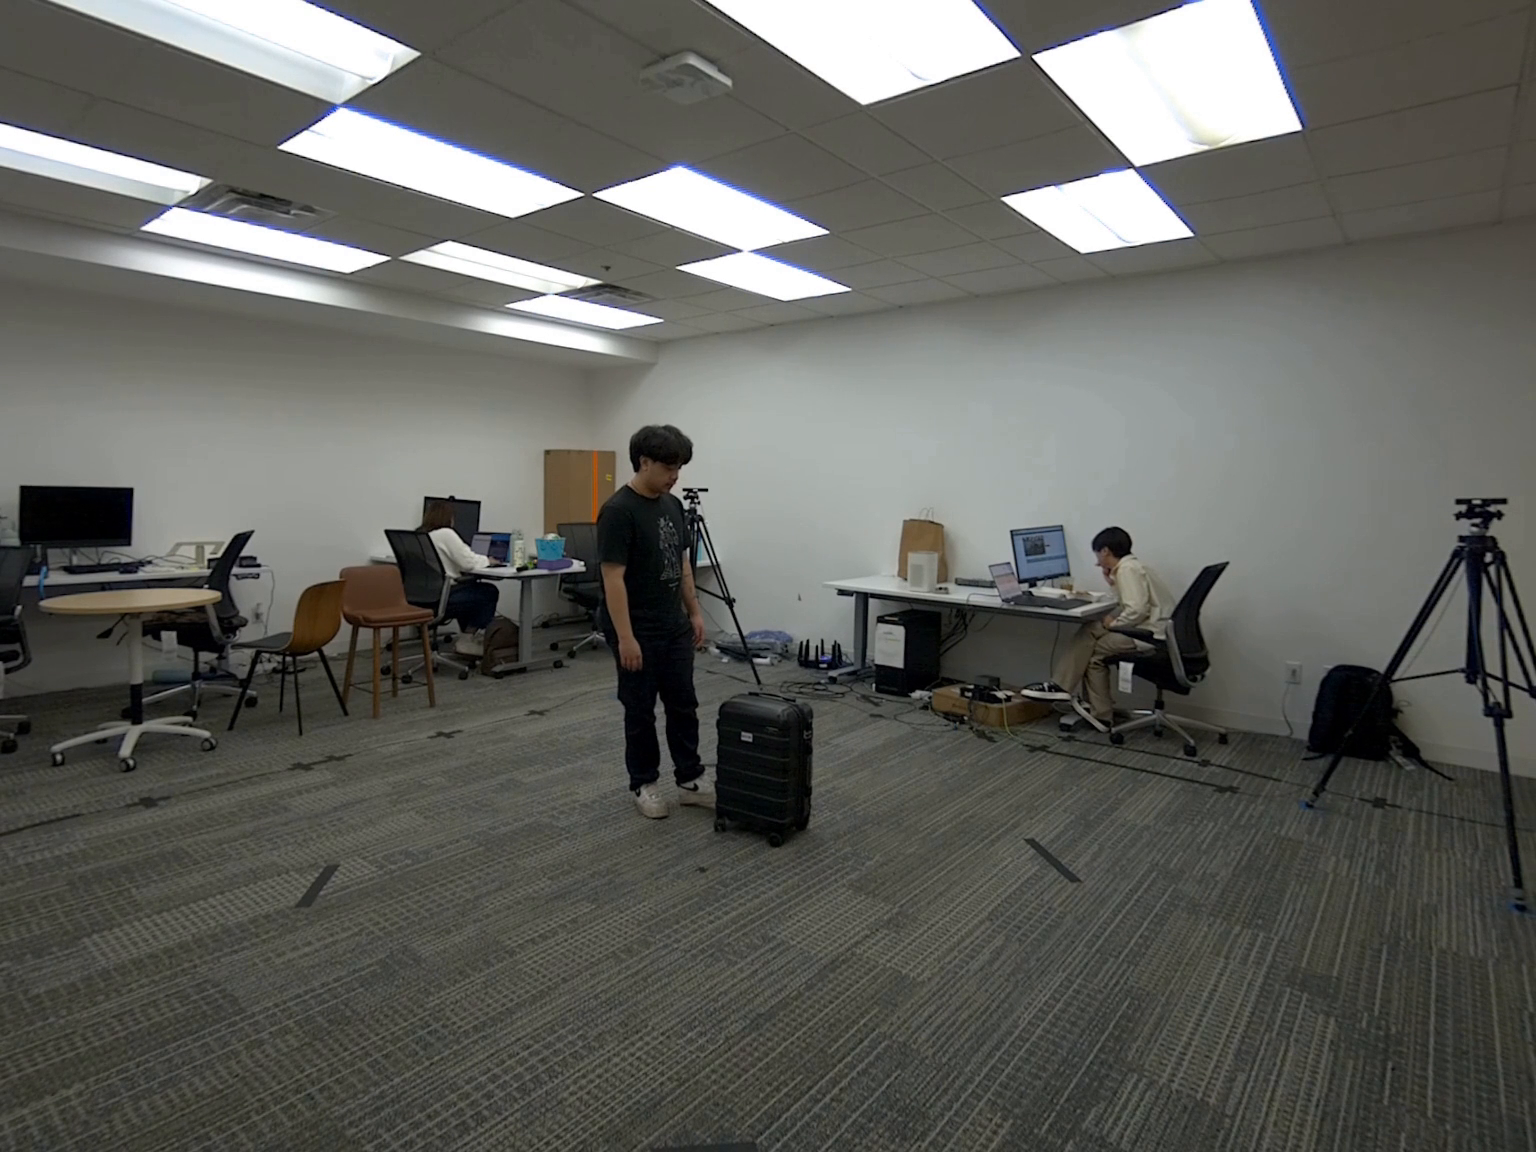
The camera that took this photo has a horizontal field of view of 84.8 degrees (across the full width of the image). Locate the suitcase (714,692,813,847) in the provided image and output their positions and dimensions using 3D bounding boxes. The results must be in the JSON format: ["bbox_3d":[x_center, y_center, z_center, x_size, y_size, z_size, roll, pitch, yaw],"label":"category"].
[{"bbox_3d":[-0.017,0.761,3.477,0.387,0.547,0.241,5,4,31],"label":"suitcase"}]
